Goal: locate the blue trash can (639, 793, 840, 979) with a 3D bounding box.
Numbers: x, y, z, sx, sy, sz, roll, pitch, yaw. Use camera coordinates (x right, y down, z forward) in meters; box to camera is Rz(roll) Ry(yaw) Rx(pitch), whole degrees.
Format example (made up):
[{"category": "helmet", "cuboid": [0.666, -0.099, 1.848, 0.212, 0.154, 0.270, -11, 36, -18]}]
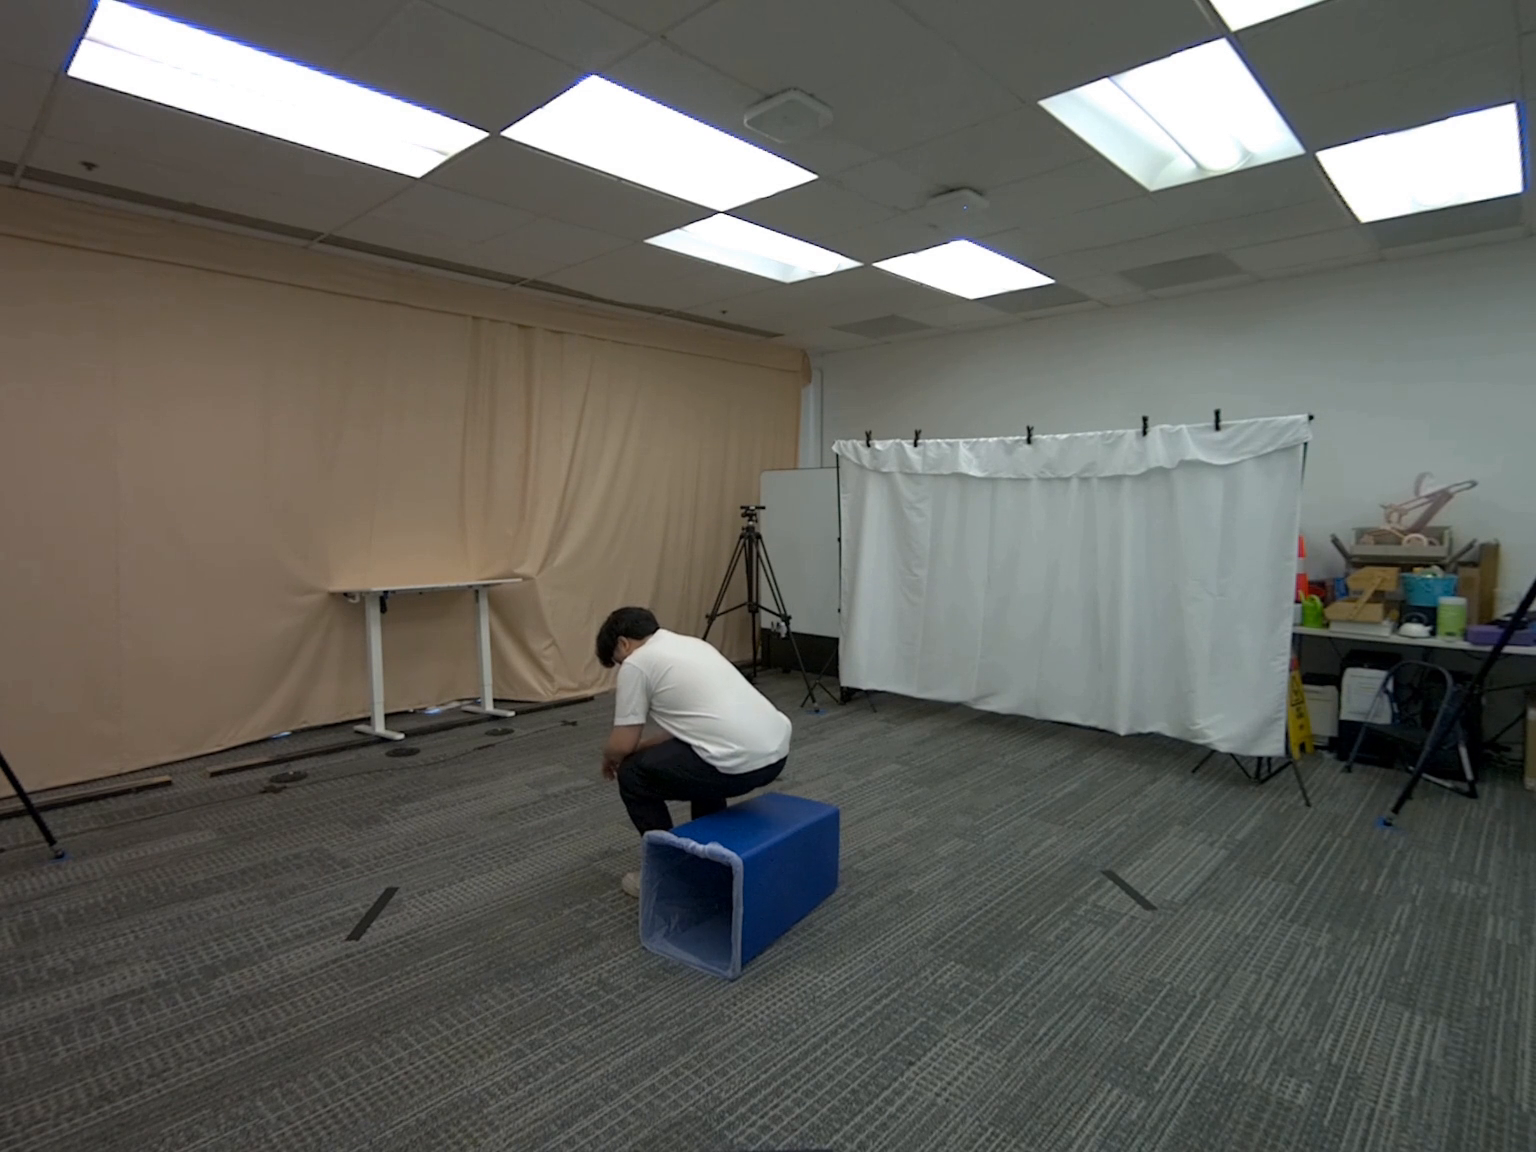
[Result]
[{"category": "blue trash can", "cuboid": [-0.051, 0.990, 2.839, 0.390, 0.374, 0.692, 1, 1, 34]}]
